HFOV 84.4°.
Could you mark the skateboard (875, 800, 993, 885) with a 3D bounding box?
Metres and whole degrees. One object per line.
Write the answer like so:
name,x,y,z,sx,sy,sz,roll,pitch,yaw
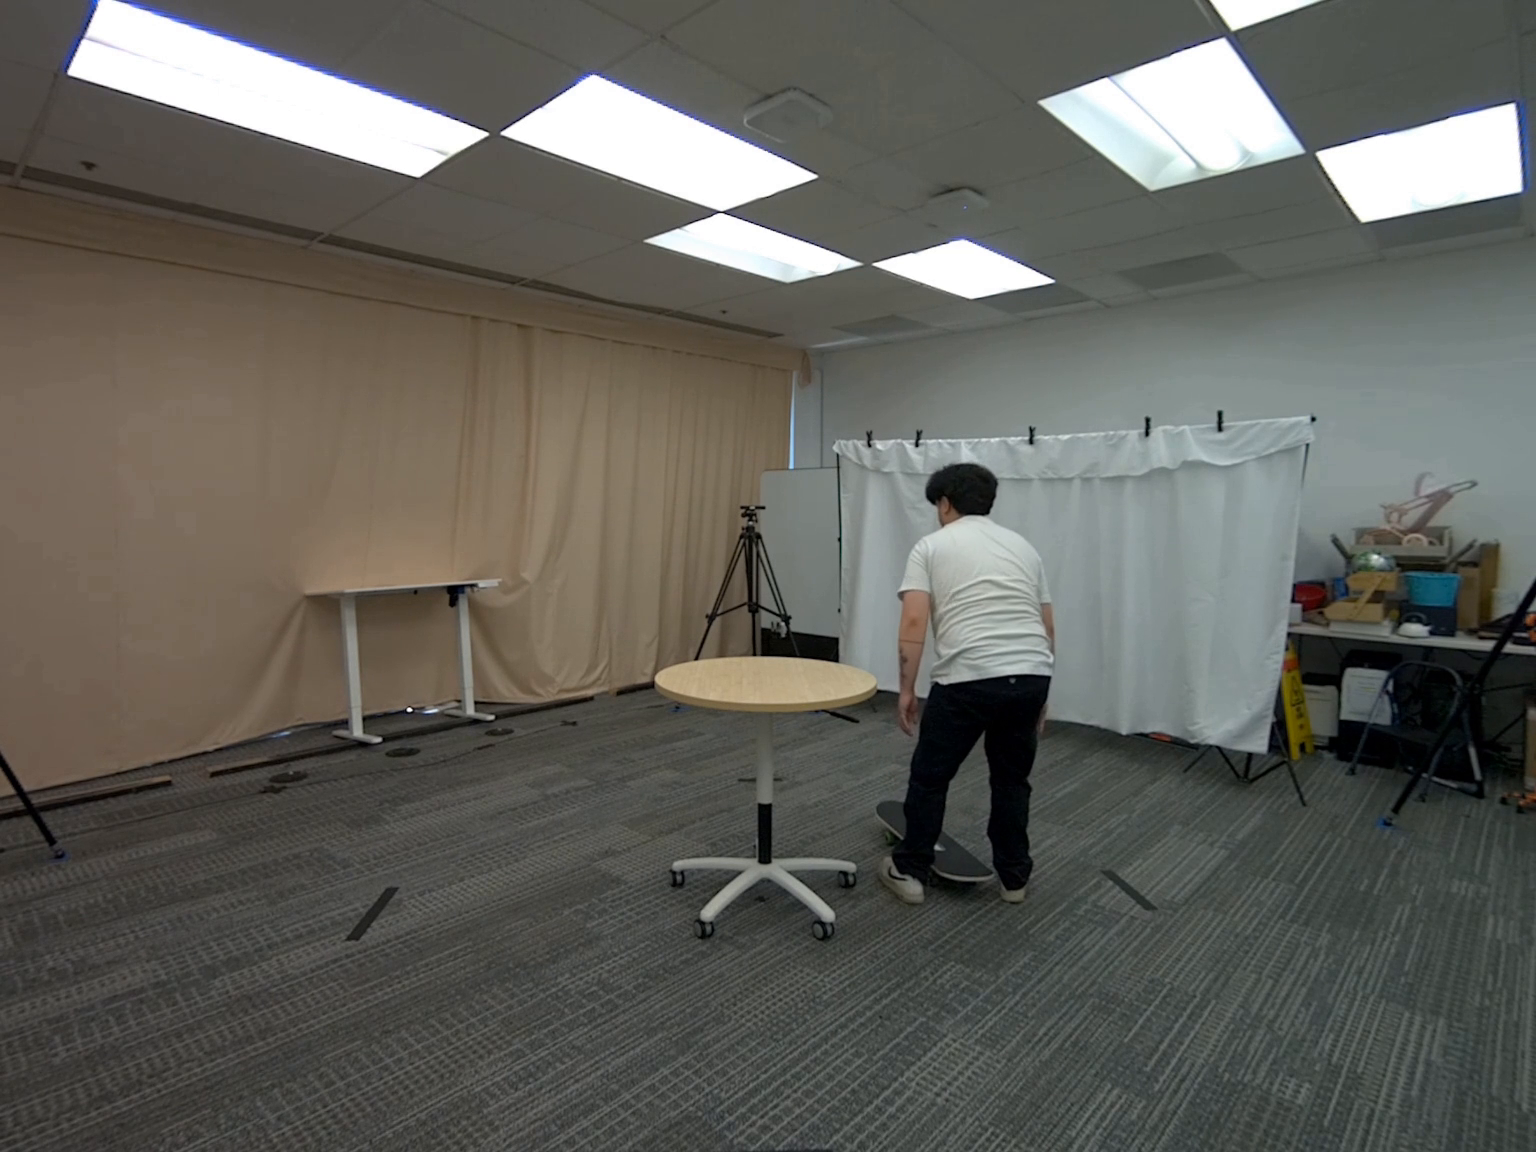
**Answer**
skateboard,0.625,1.056,3.286,0.191,0.110,0.798,-1,5,-14
